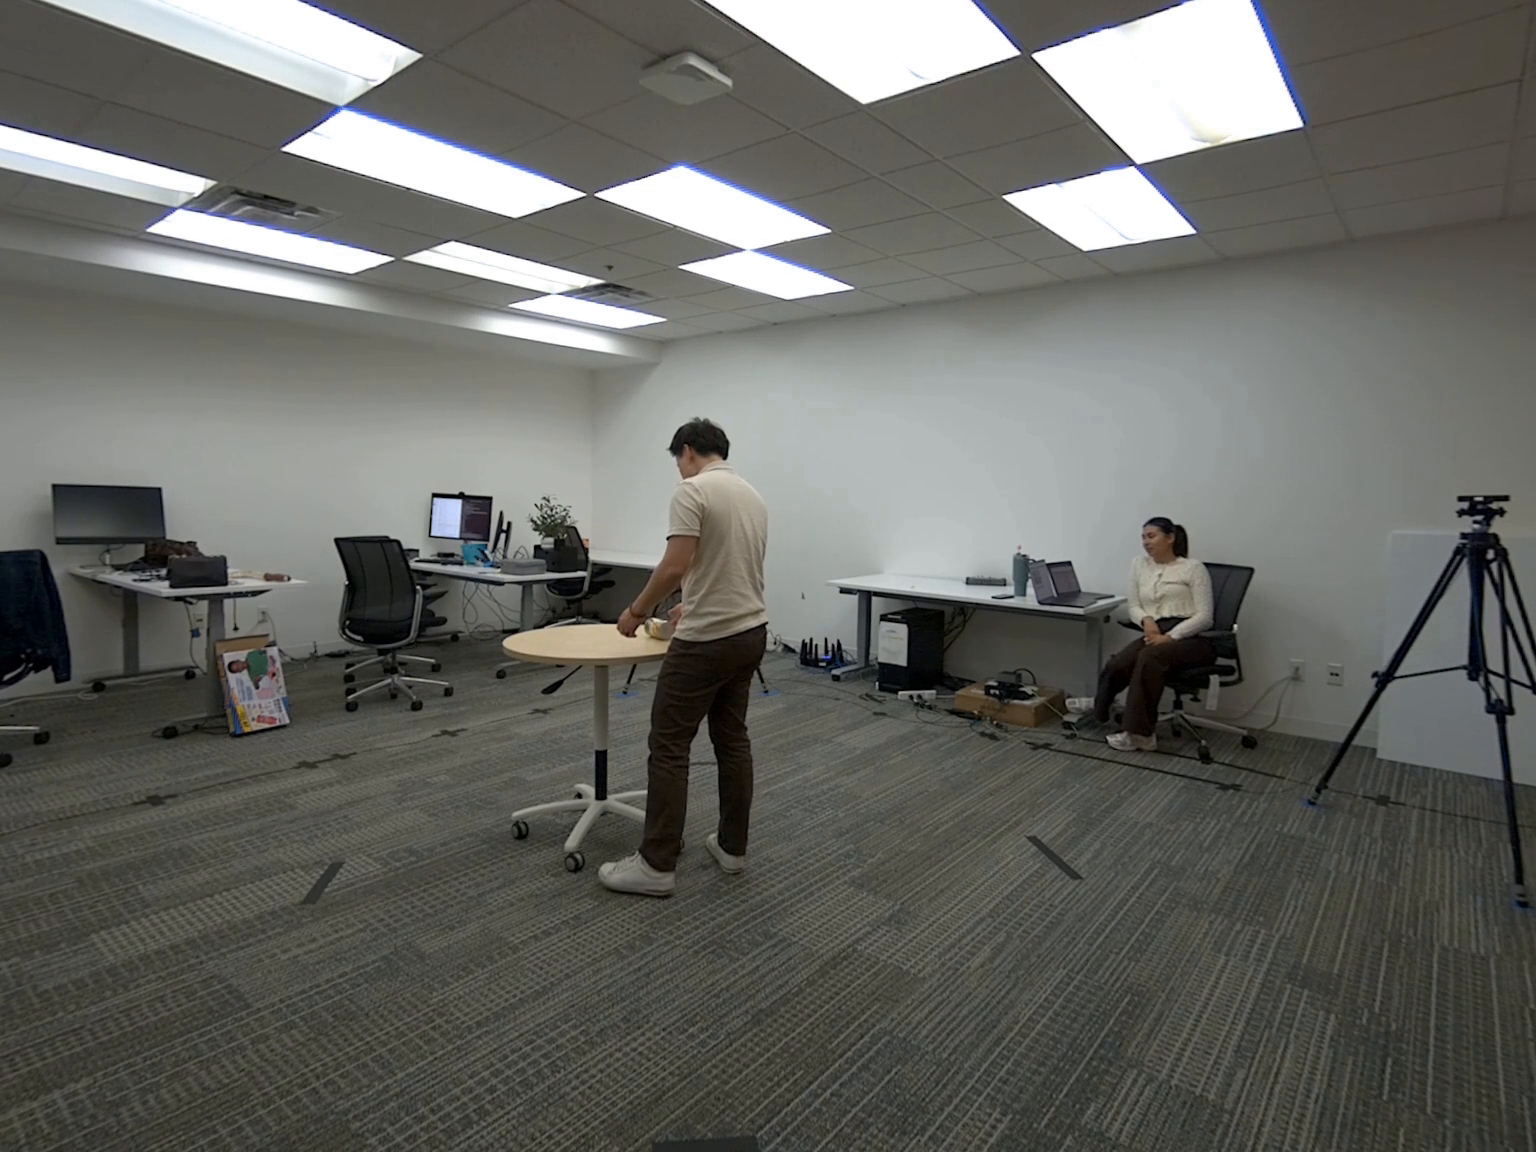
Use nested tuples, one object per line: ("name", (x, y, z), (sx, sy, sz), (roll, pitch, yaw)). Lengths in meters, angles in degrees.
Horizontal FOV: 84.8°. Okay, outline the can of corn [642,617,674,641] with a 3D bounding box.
("can of corn", (-0.446, 0.210, 3.418), (0.073, 0.074, 0.114), (-1, 5, -22))
